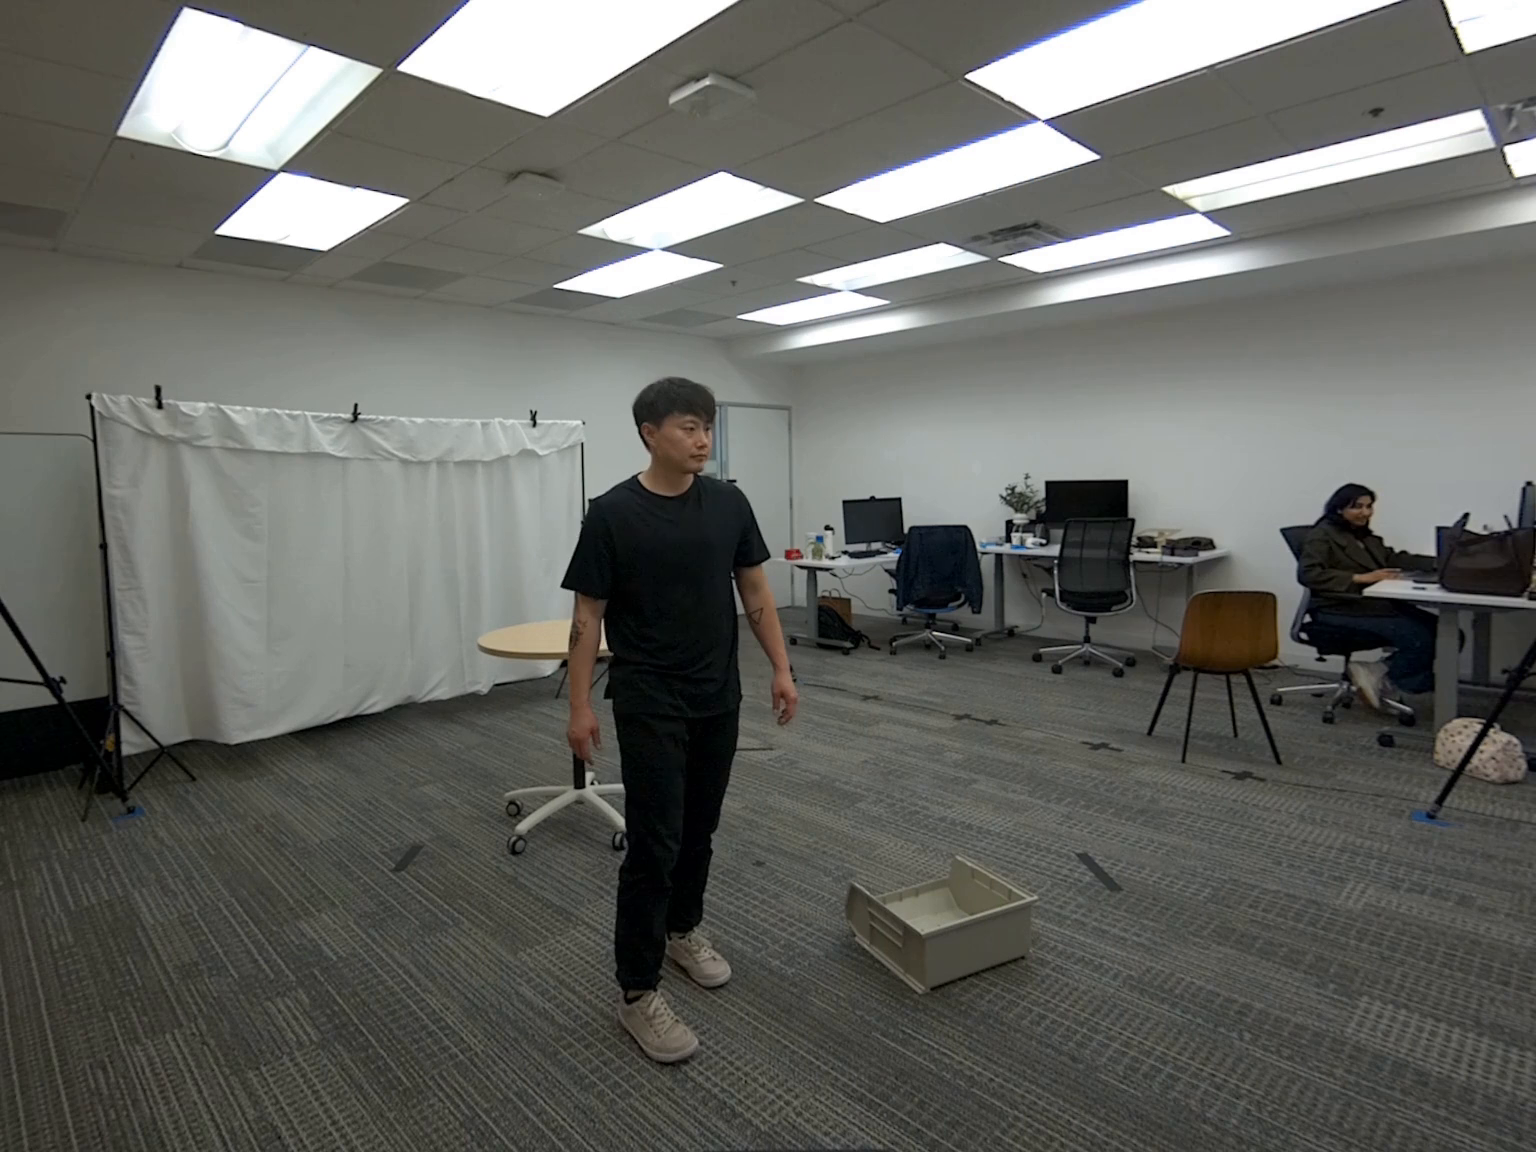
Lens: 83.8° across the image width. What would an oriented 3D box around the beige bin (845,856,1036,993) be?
[{"bbox_3d":[0.512,1.012,2.540,0.413,0.188,0.387,-4,7,-27],"label":"beige bin"}]
